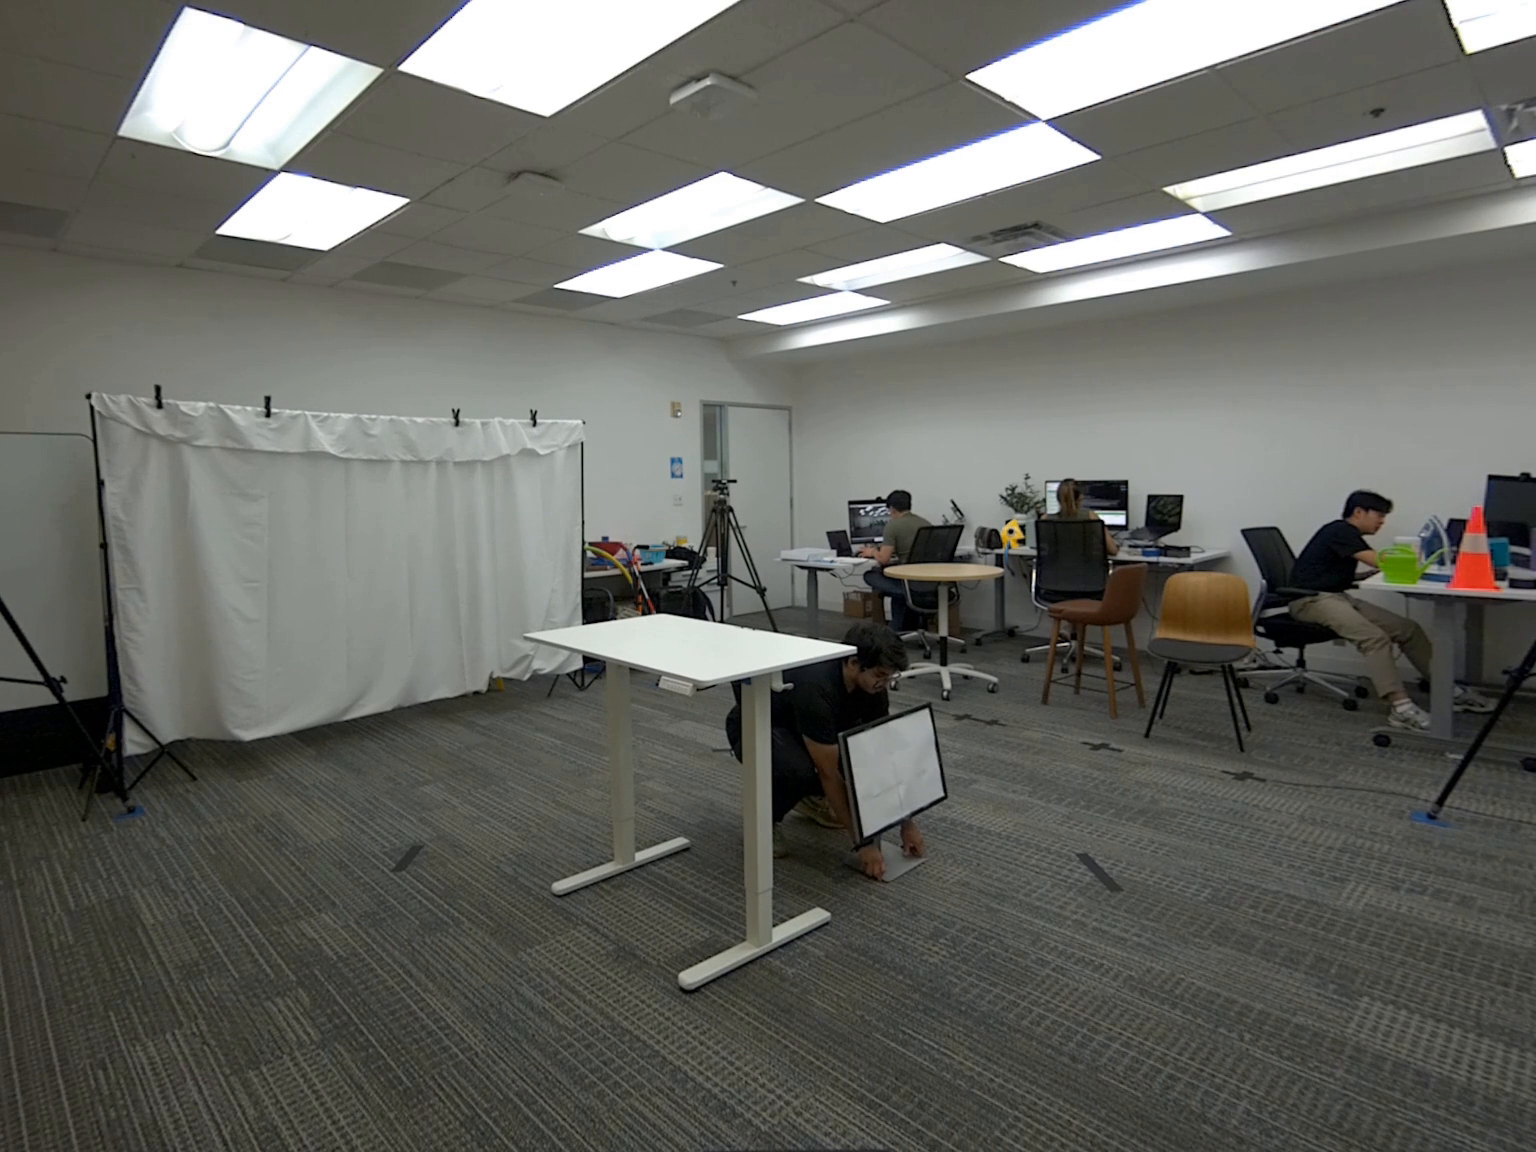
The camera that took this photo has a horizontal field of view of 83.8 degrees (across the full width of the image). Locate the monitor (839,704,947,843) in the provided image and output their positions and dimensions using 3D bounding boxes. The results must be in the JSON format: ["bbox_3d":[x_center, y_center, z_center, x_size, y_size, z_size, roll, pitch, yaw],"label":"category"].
[{"bbox_3d":[0.399,0.770,3.088,0.216,0.554,0.550,-4,2,44],"label":"monitor"}]
